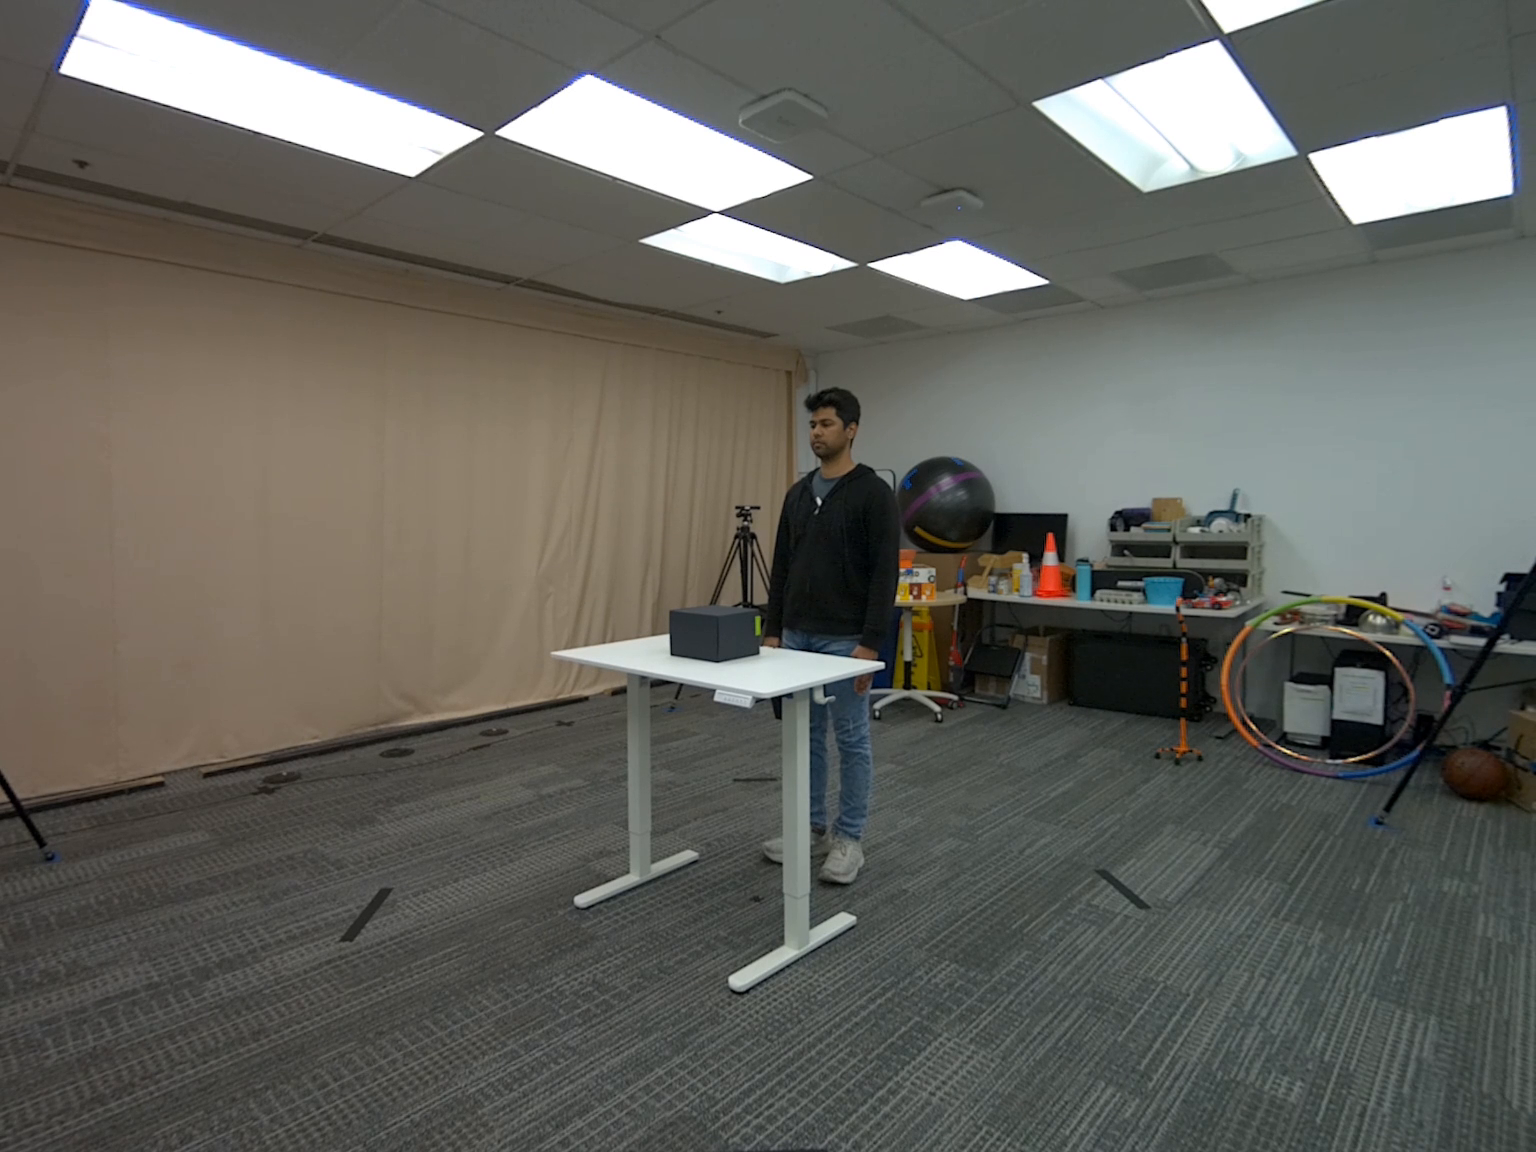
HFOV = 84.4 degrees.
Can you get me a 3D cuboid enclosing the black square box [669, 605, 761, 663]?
[{"bbox_3d":[-0.178,0.192,2.880,0.235,0.155,0.210,3,5,41],"label":"black square box"}]
